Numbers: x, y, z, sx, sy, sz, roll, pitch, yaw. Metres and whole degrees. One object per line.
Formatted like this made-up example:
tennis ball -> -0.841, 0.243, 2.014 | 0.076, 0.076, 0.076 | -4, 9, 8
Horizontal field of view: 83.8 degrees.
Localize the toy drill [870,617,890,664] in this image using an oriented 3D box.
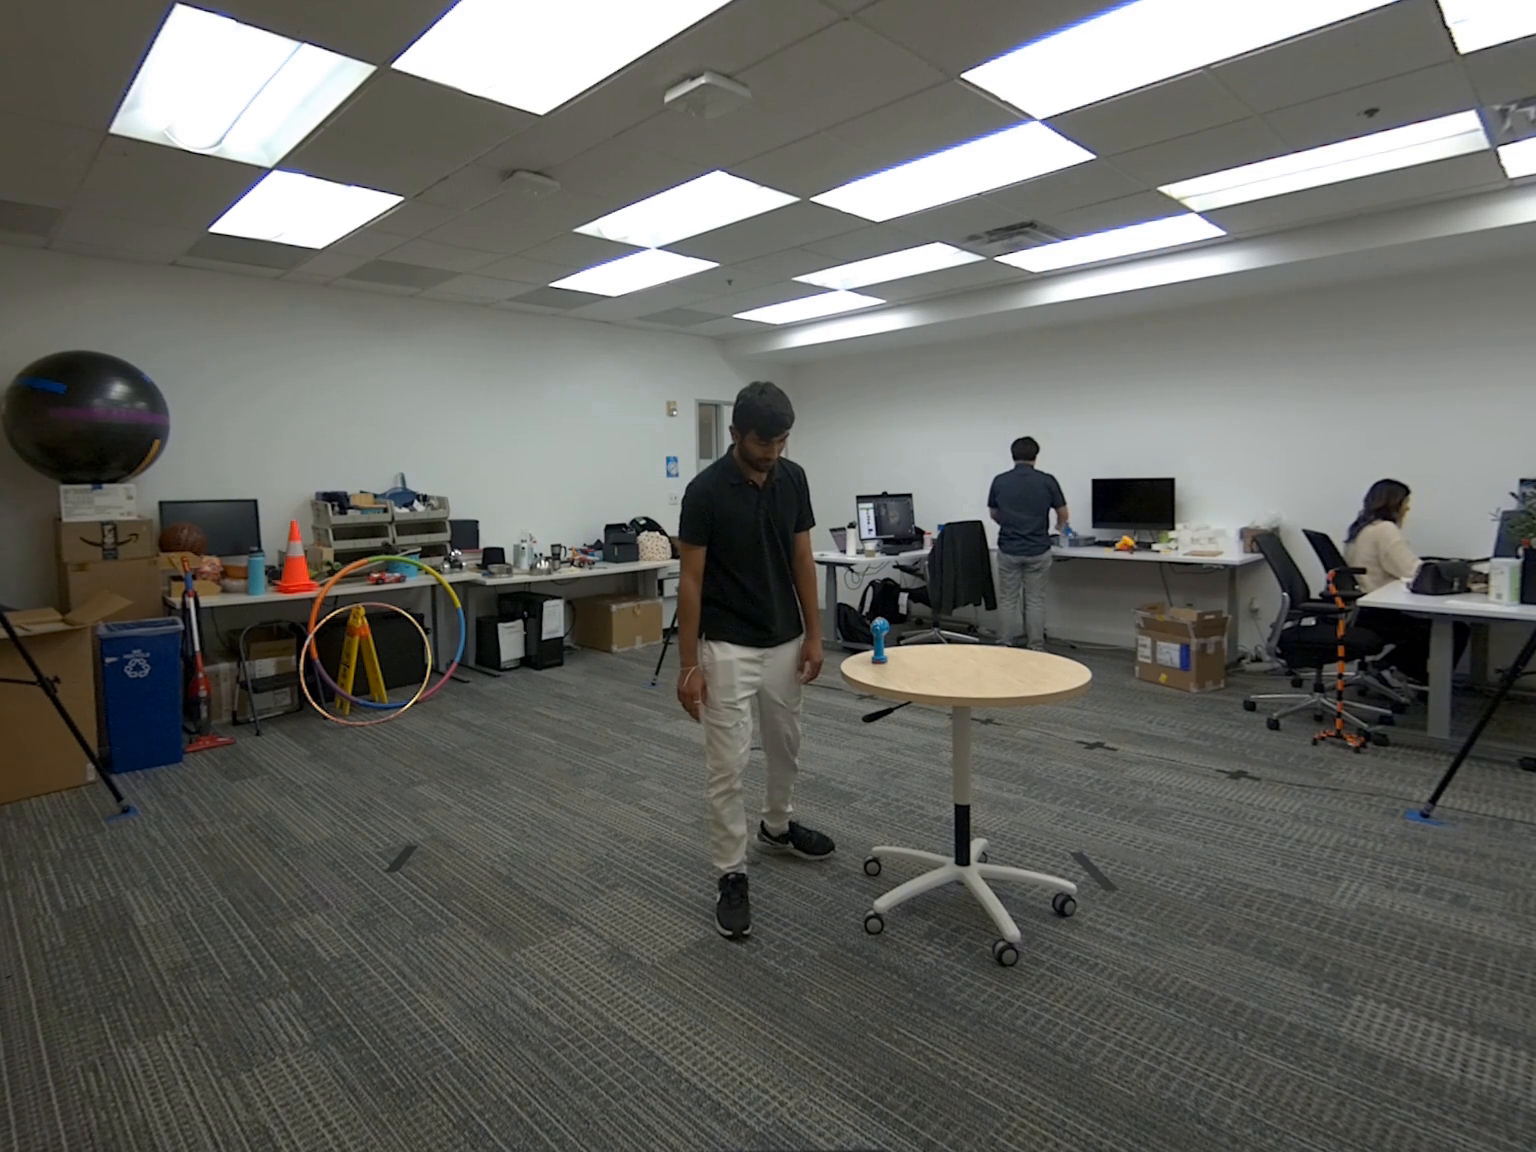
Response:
toy drill -> 0.376, 0.209, 2.873 | 0.062, 0.145, 0.168 | -1, 4, 12
